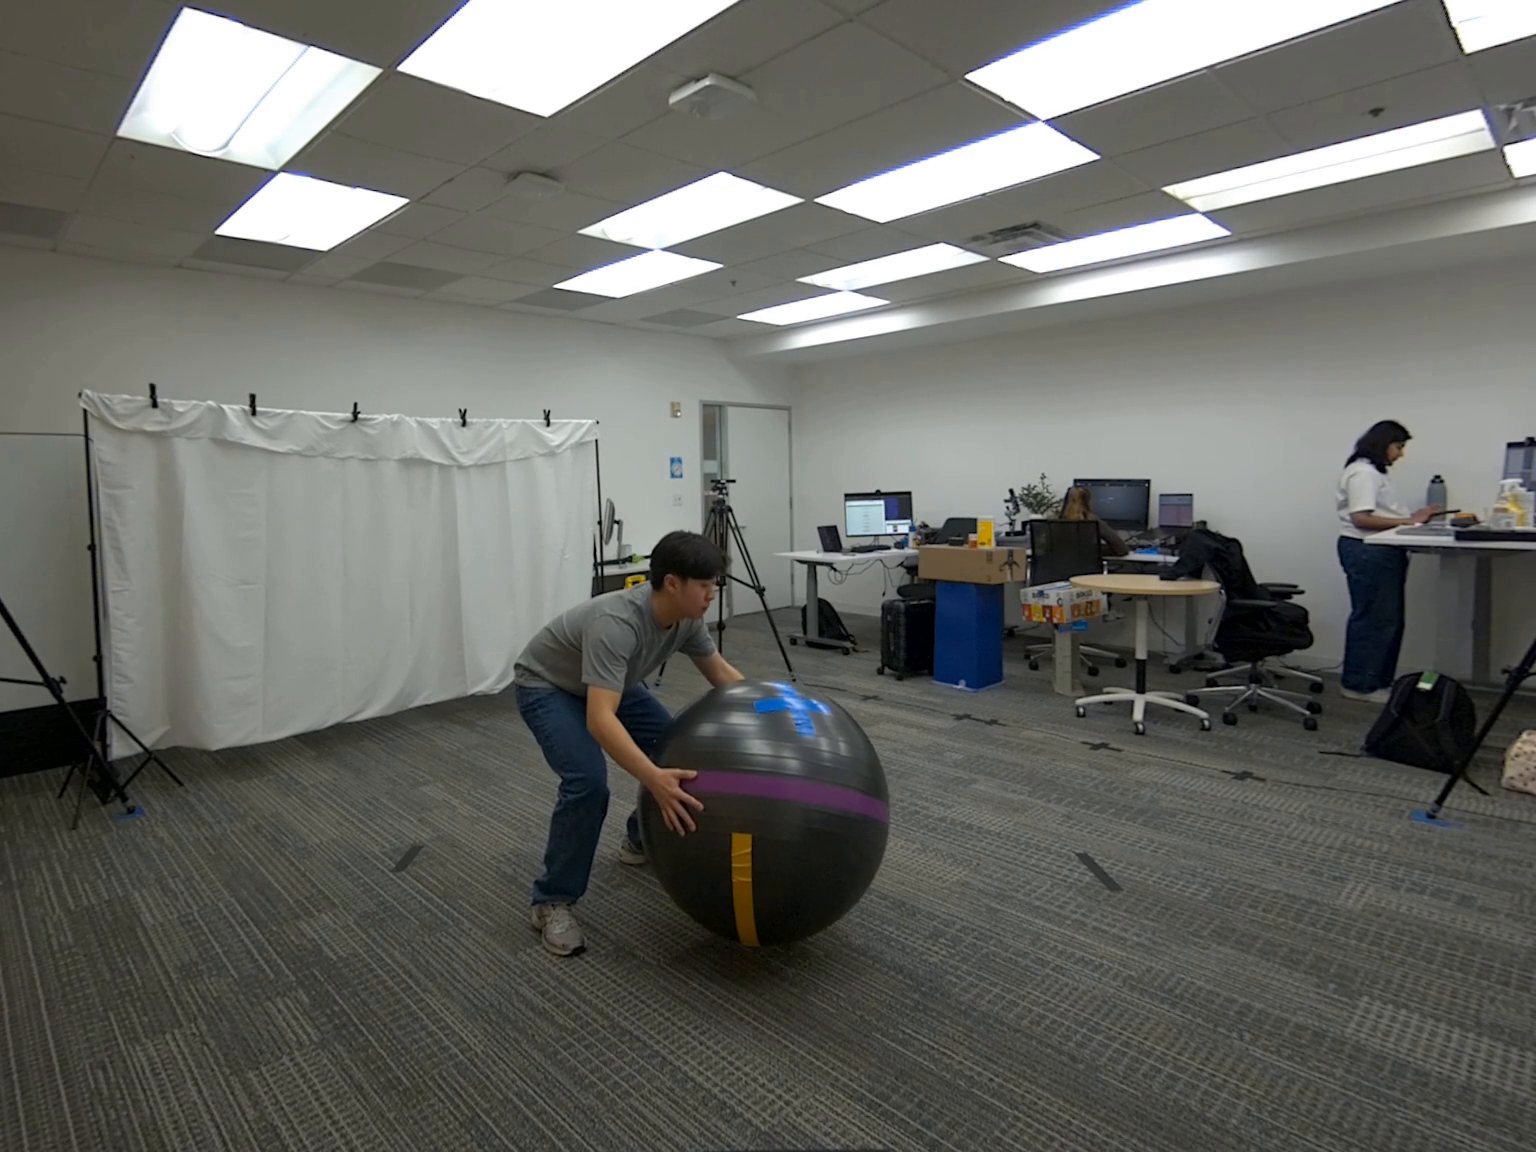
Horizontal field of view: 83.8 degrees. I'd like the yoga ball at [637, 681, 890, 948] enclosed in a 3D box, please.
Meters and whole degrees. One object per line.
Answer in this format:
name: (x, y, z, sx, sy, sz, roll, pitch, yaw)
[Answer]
yoga ball: (-0.013, 0.688, 2.574, 0.757, 0.755, 0.762, -1, 5, -2)
